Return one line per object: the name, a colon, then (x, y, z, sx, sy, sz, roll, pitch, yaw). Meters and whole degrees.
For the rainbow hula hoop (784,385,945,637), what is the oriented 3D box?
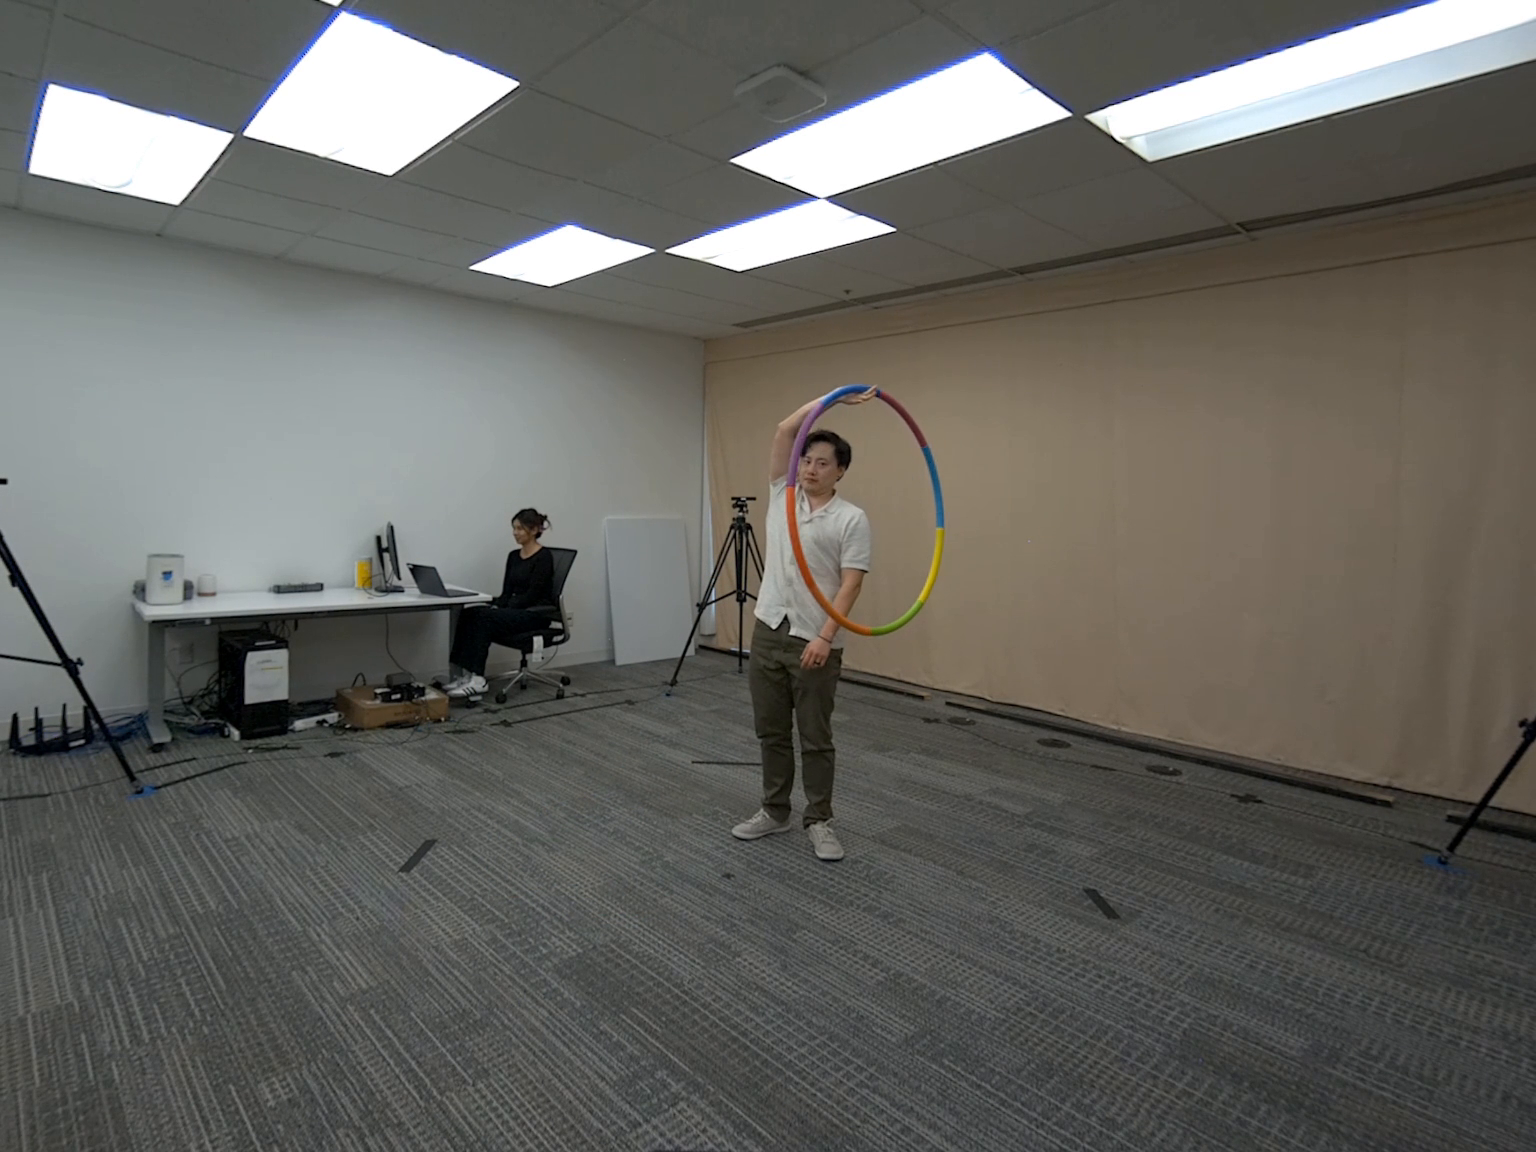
rainbow hula hoop: (0.400, -0.263, 3.332, 0.956, 0.980, 0.036, -3, -2, -44)
